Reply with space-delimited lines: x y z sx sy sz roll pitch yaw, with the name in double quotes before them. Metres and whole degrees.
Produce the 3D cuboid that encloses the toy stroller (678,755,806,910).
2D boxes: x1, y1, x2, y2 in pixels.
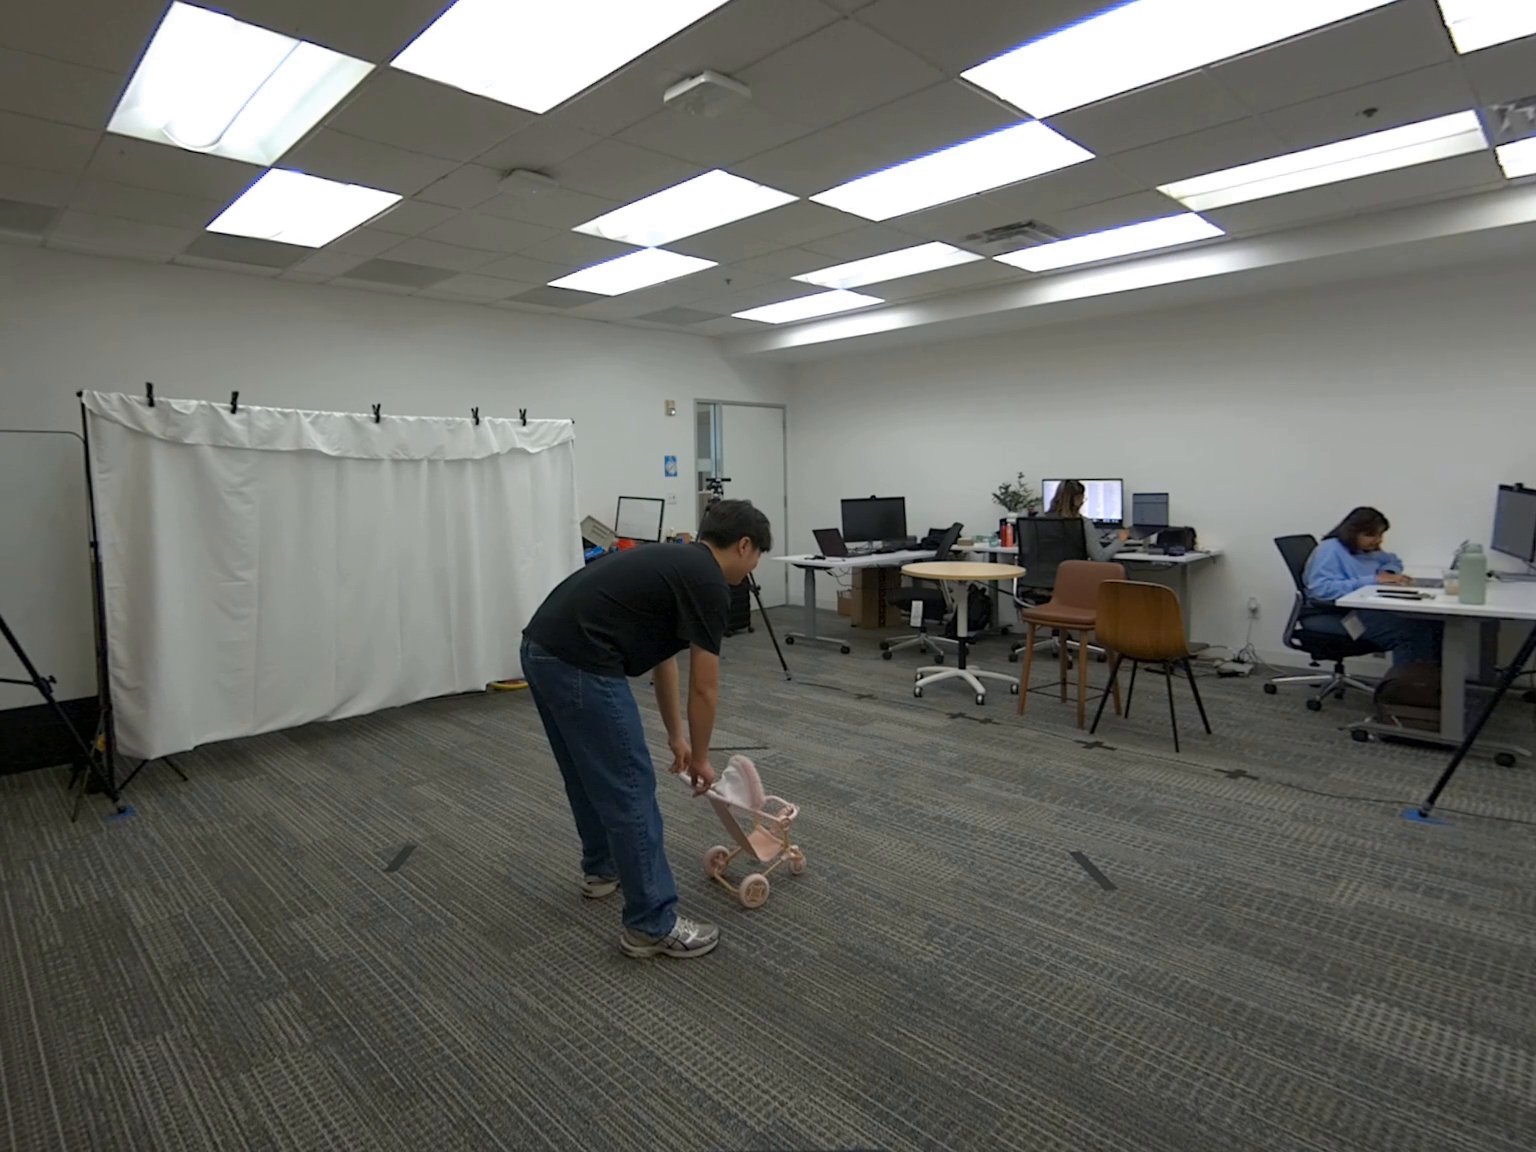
"toy stroller" -0.057 0.845 2.907 0.337 0.528 0.289 -21 13 -23
